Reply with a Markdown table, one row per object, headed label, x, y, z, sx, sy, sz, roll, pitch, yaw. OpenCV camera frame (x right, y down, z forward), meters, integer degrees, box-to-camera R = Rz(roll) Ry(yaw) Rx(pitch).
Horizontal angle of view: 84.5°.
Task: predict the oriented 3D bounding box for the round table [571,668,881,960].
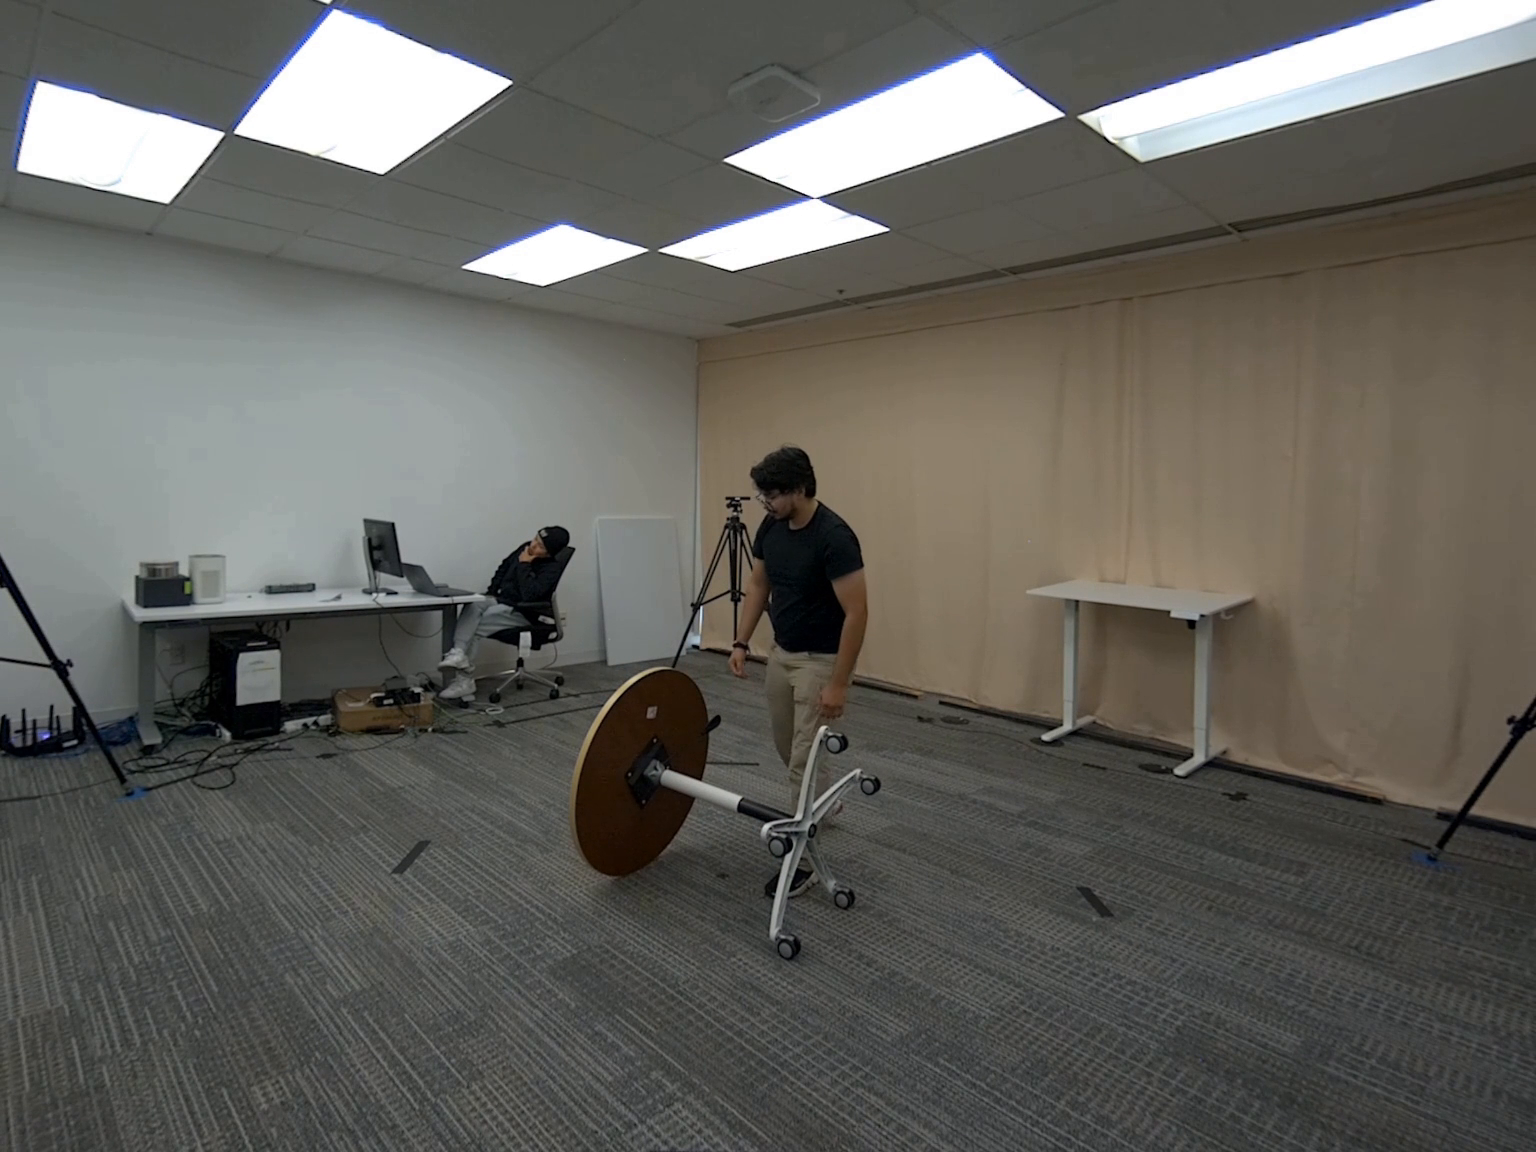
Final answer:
| label | x | y | z | sx | sy | sz | roll | pitch | yaw |
| --- | --- | --- | --- | --- | --- | --- | --- | --- | --- |
| round table | -0.130 | 0.770 | 2.892 | 0.806 | 0.782 | 0.769 | 9 | 8 | 32 |
